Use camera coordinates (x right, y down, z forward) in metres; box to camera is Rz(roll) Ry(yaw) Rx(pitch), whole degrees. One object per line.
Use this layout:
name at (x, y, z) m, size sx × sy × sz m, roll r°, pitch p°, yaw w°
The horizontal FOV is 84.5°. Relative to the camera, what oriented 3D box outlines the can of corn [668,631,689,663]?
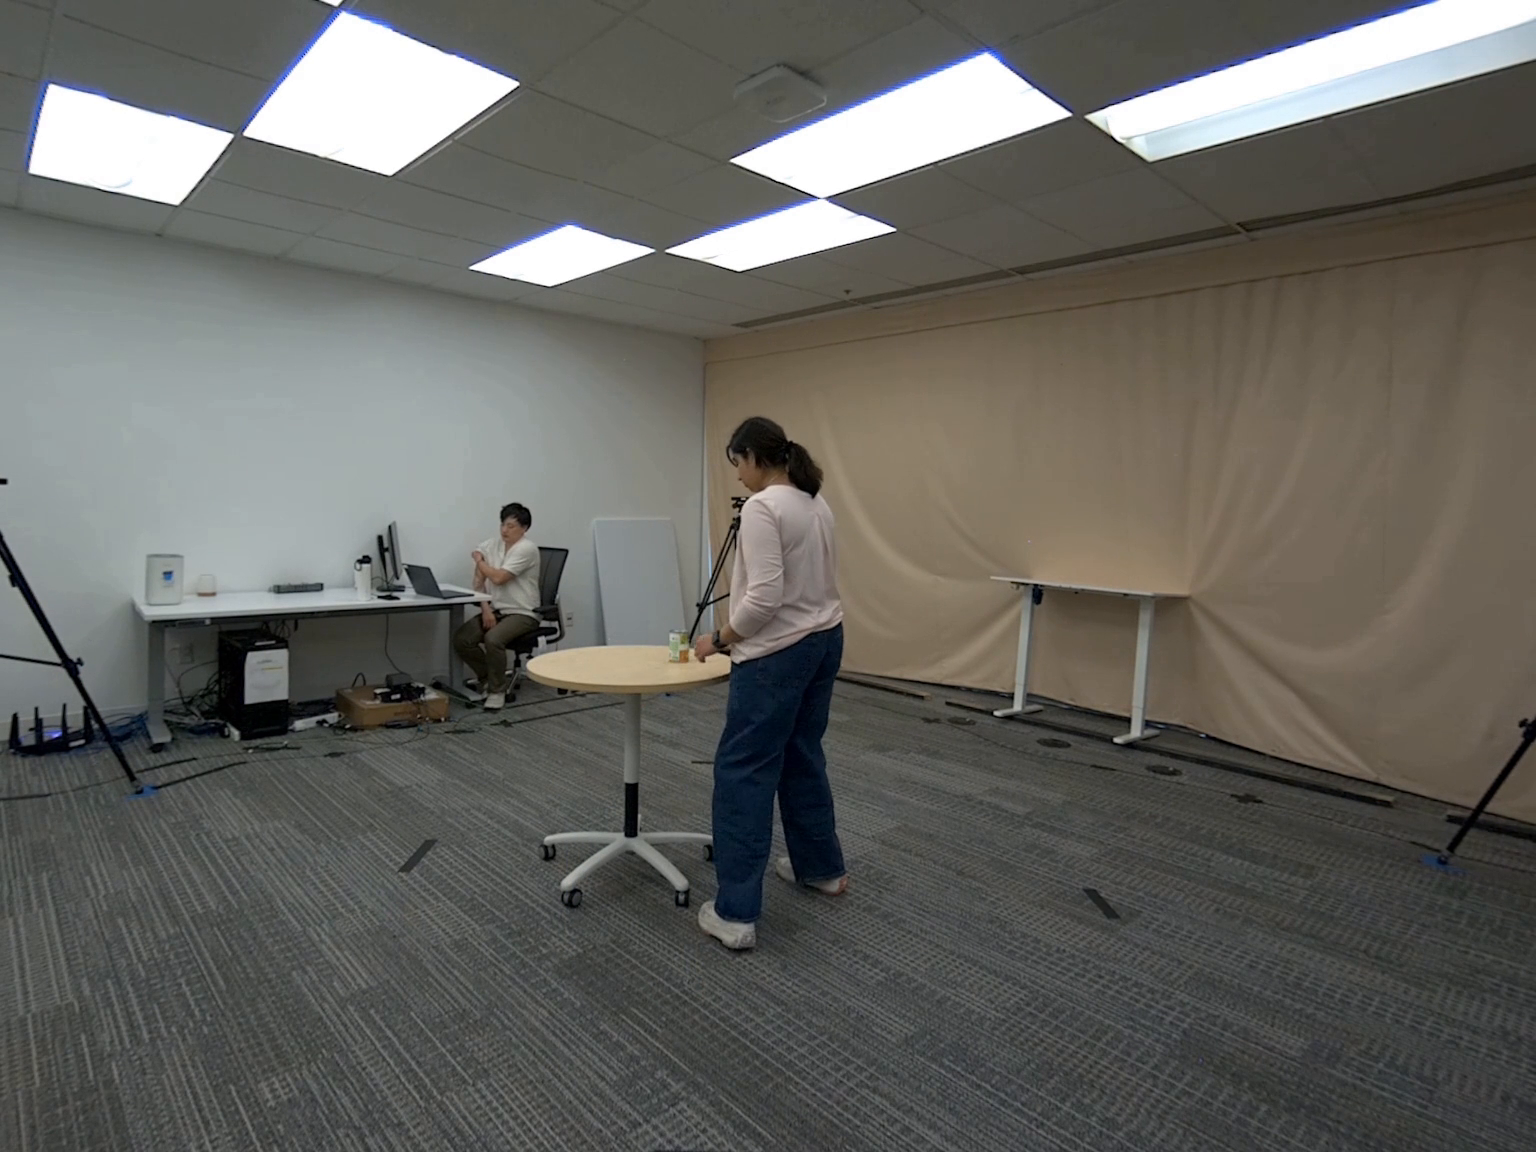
can of corn at (-0.331, 0.261, 3.121) m, size 0.074 × 0.111 × 0.074 m, roll 1°, pitch 3°, yaw -1°
